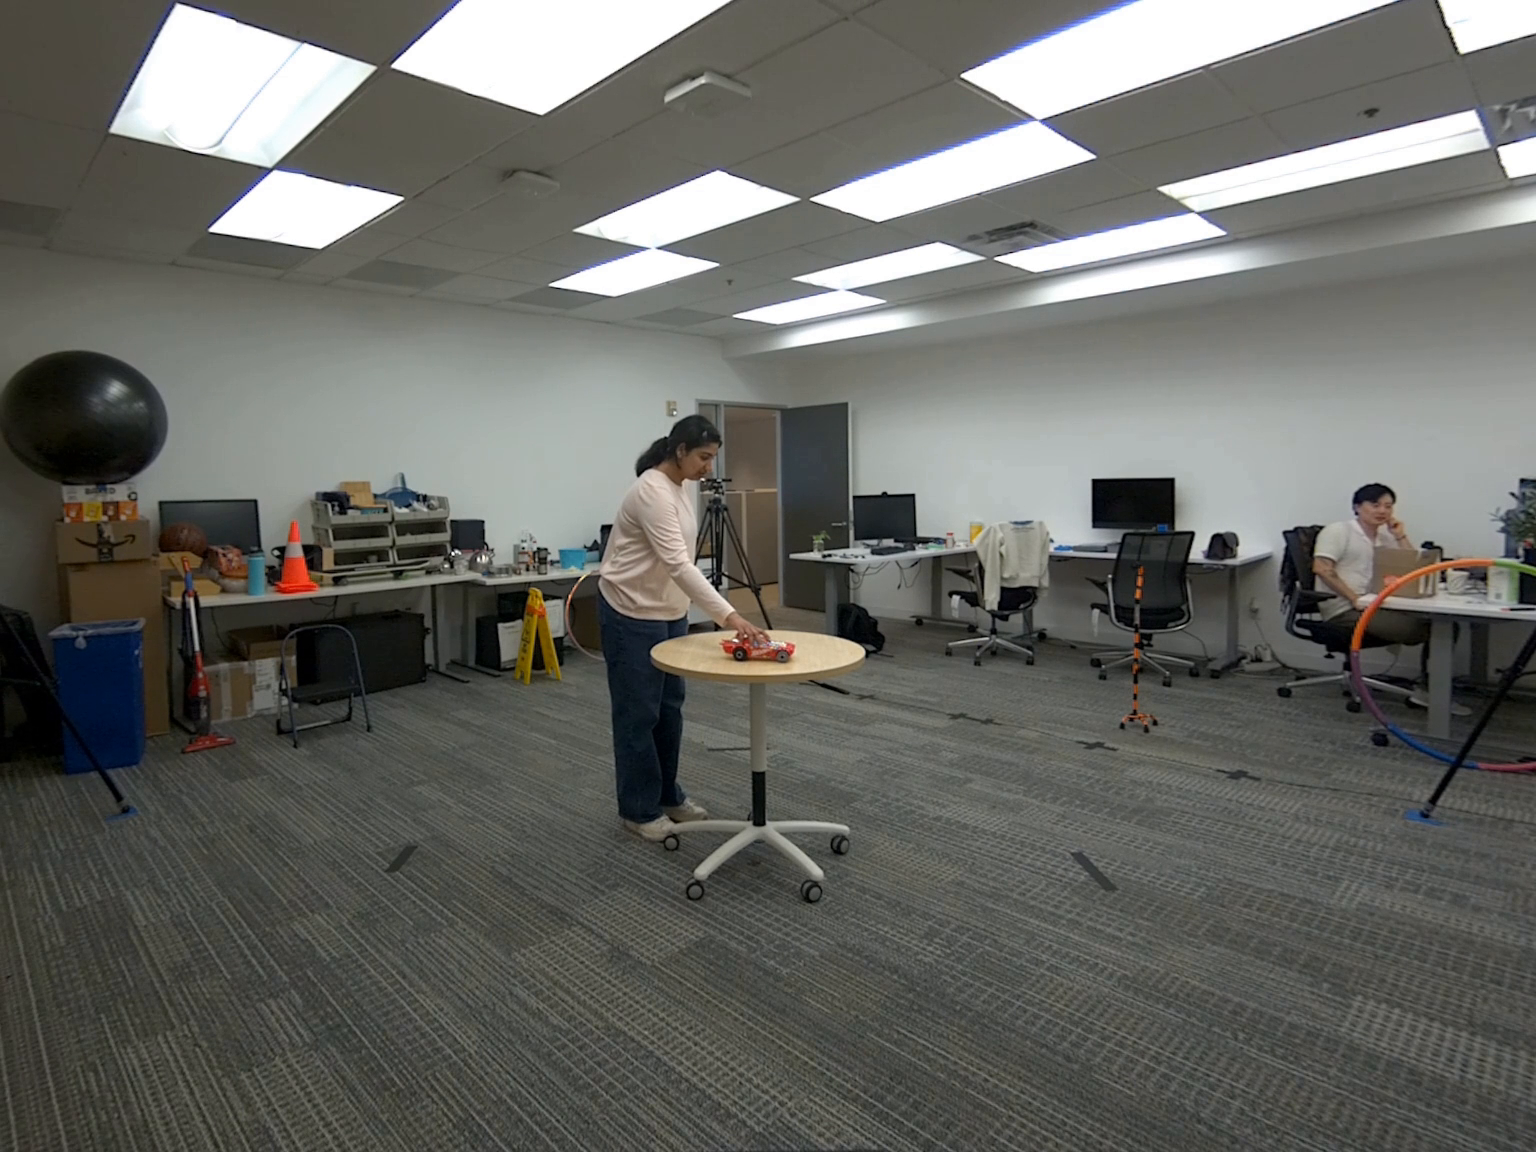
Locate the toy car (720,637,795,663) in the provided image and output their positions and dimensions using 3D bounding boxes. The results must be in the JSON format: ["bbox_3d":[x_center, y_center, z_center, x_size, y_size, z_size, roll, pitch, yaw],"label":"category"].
[{"bbox_3d":[-0.041,0.250,2.920,0.257,0.083,0.130,12,8,7],"label":"toy car"}]
